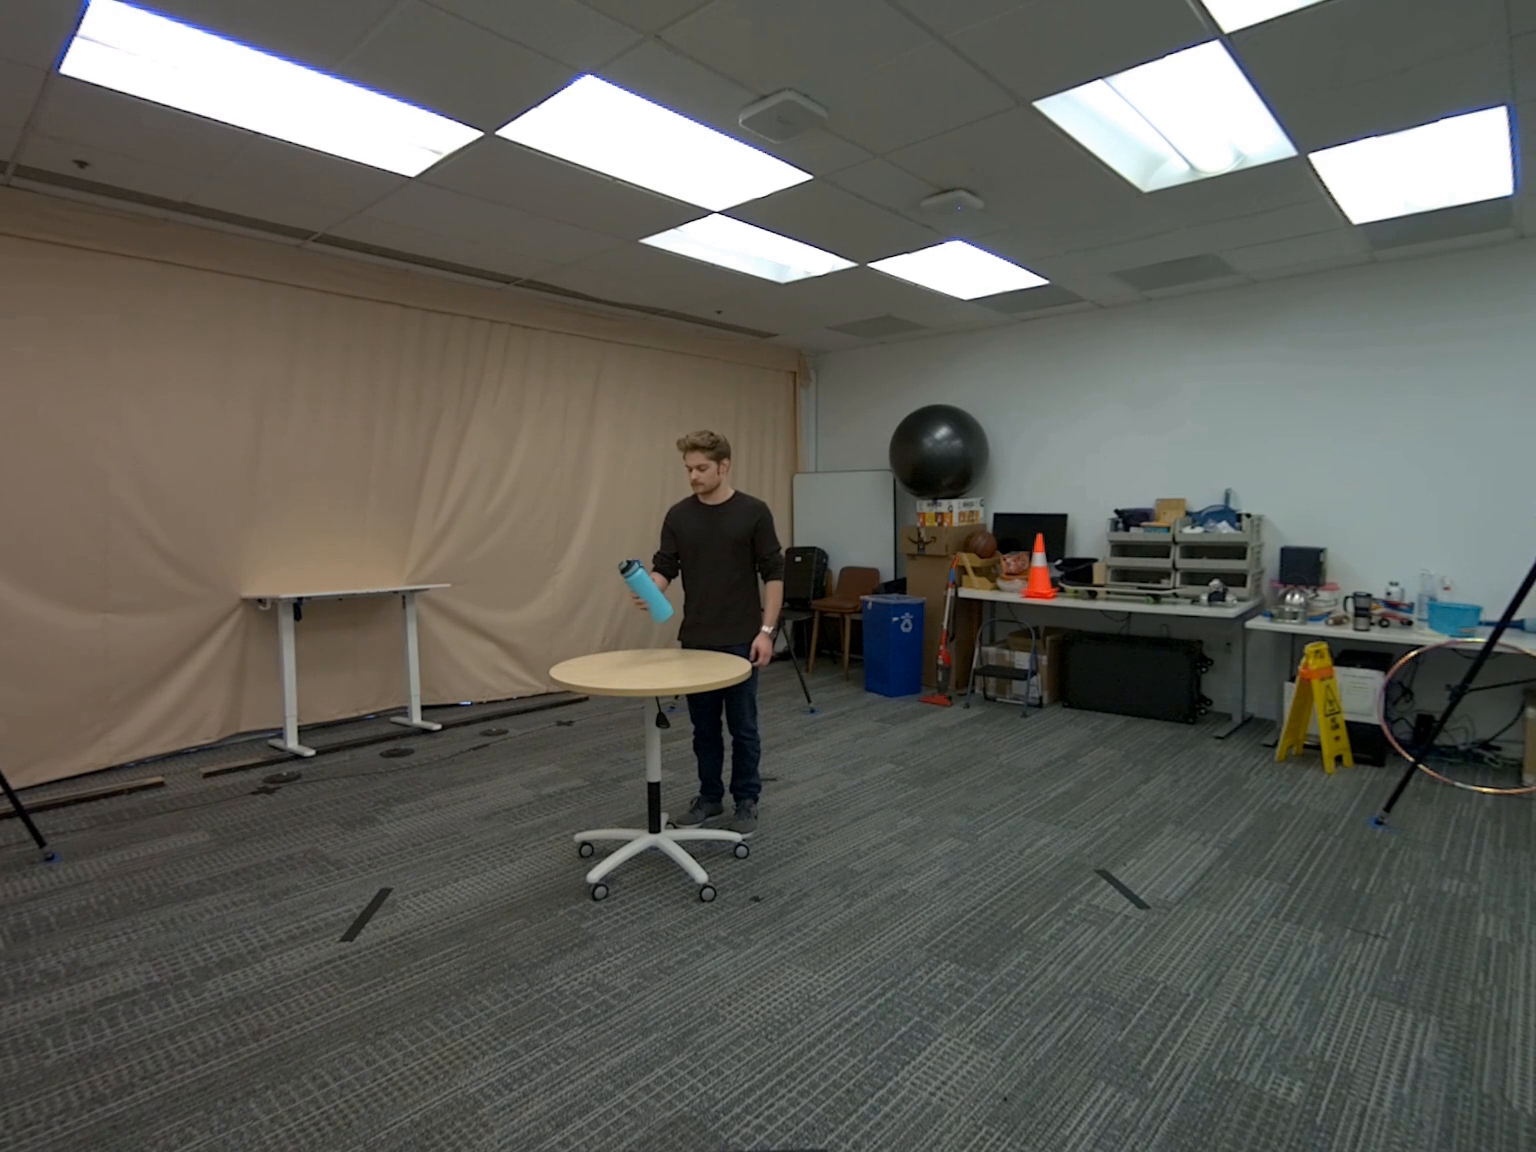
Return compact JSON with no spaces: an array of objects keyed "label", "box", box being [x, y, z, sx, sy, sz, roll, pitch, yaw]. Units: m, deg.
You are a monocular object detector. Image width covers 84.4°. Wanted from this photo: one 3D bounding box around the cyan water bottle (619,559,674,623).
[{"label":"cyan water bottle","box":[-0.483,0.058,3.310,0.093,0.278,0.093,-31,18,10]}]
